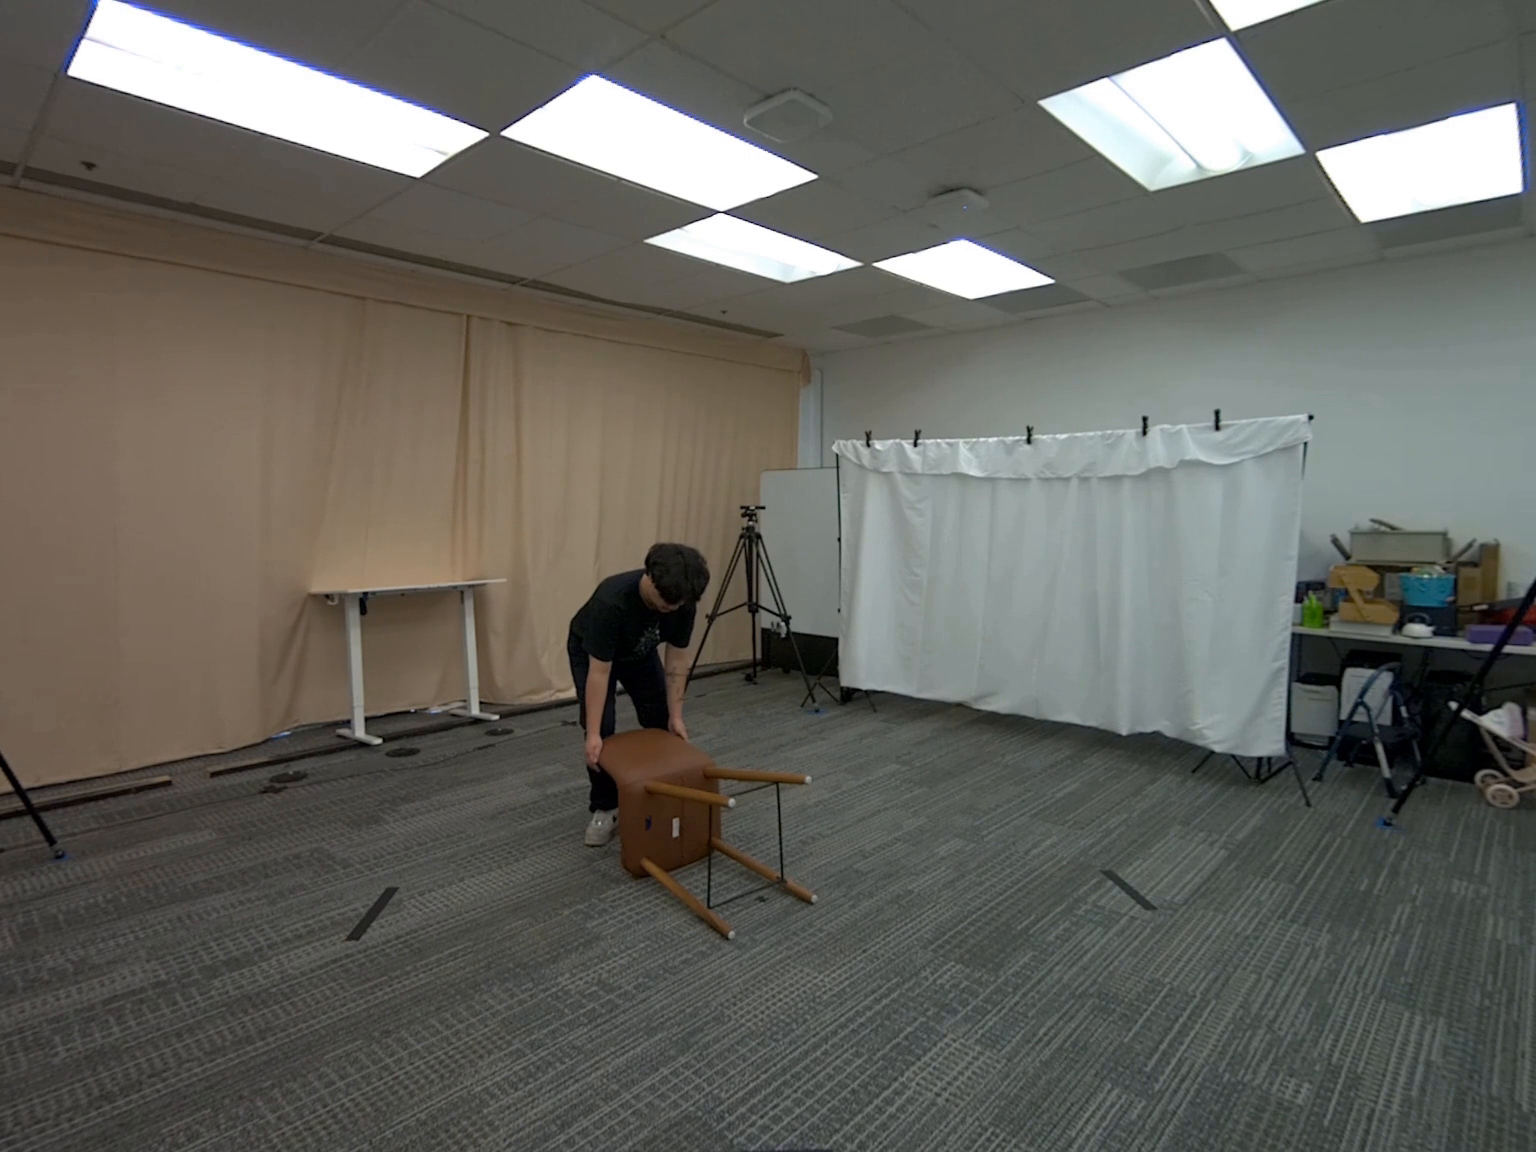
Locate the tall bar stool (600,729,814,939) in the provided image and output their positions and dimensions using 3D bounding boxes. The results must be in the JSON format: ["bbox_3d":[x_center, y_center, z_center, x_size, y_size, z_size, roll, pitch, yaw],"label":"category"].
[{"bbox_3d":[-0.272,0.906,3.149,0.443,0.466,0.919,-4,6,-41],"label":"tall bar stool"}]
